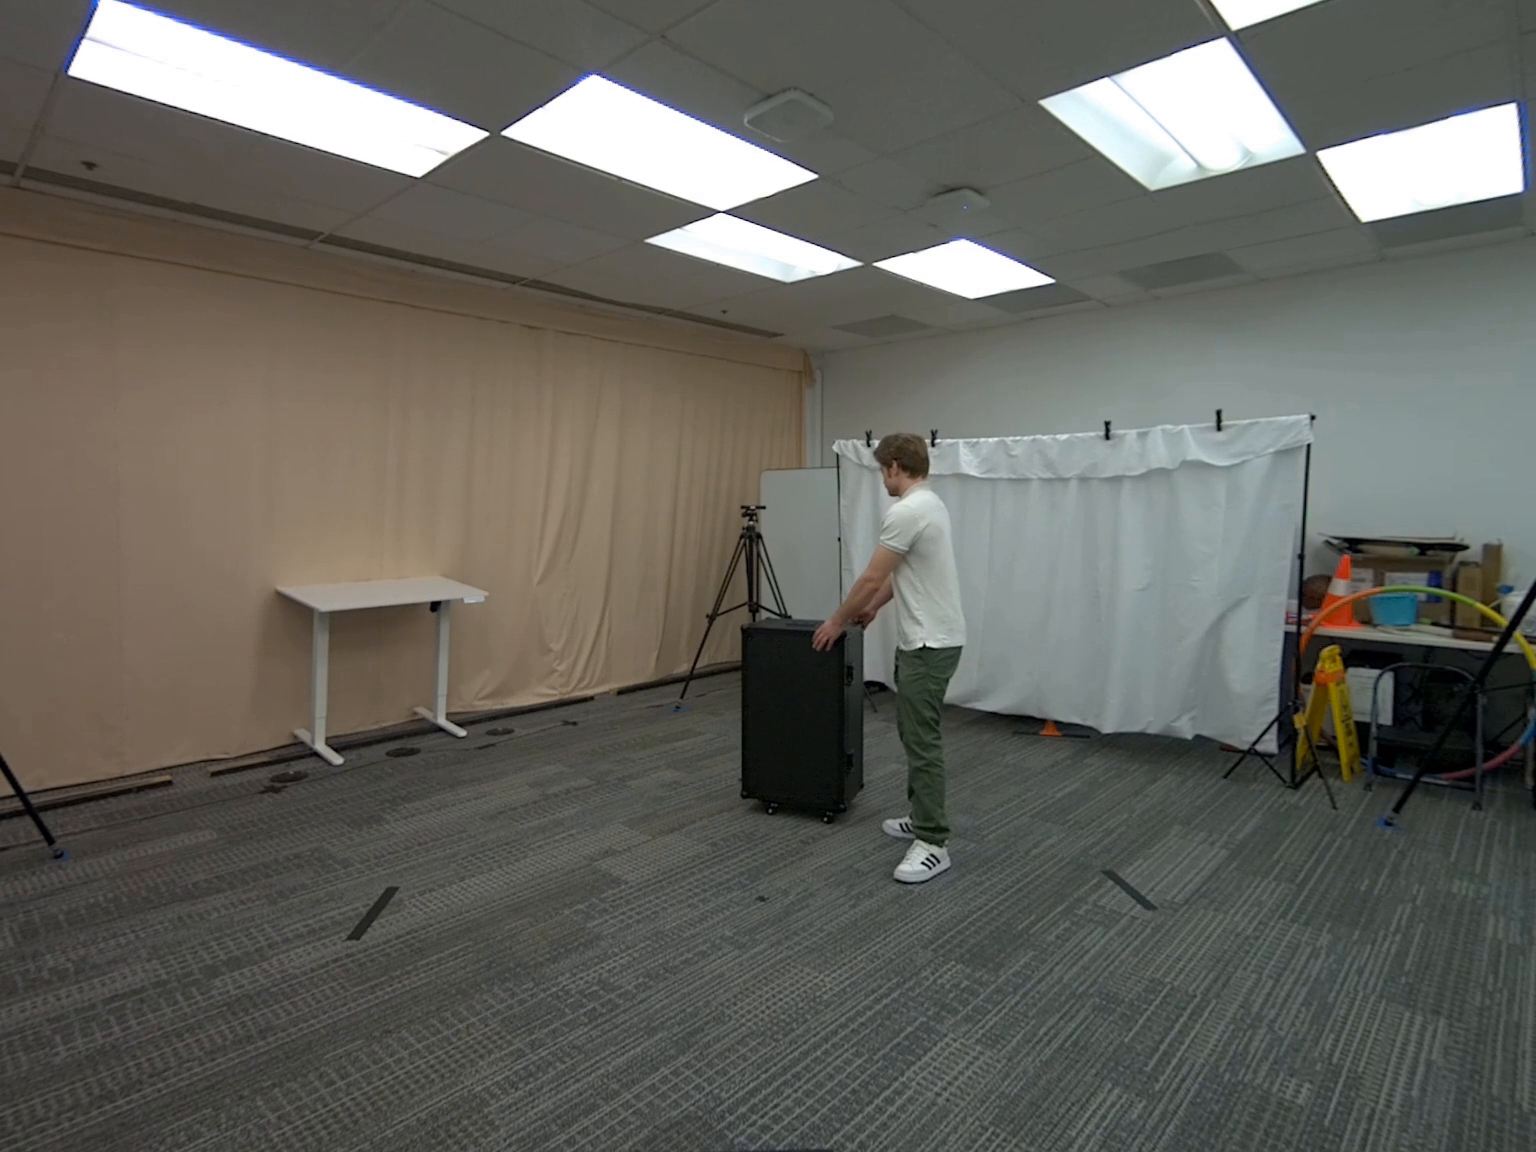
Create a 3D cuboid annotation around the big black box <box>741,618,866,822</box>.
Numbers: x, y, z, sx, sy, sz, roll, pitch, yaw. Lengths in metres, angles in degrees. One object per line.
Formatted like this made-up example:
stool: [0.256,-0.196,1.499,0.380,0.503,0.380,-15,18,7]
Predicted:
big black box: [0.161,0.645,3.883,0.535,0.867,0.377,1,3,21]
